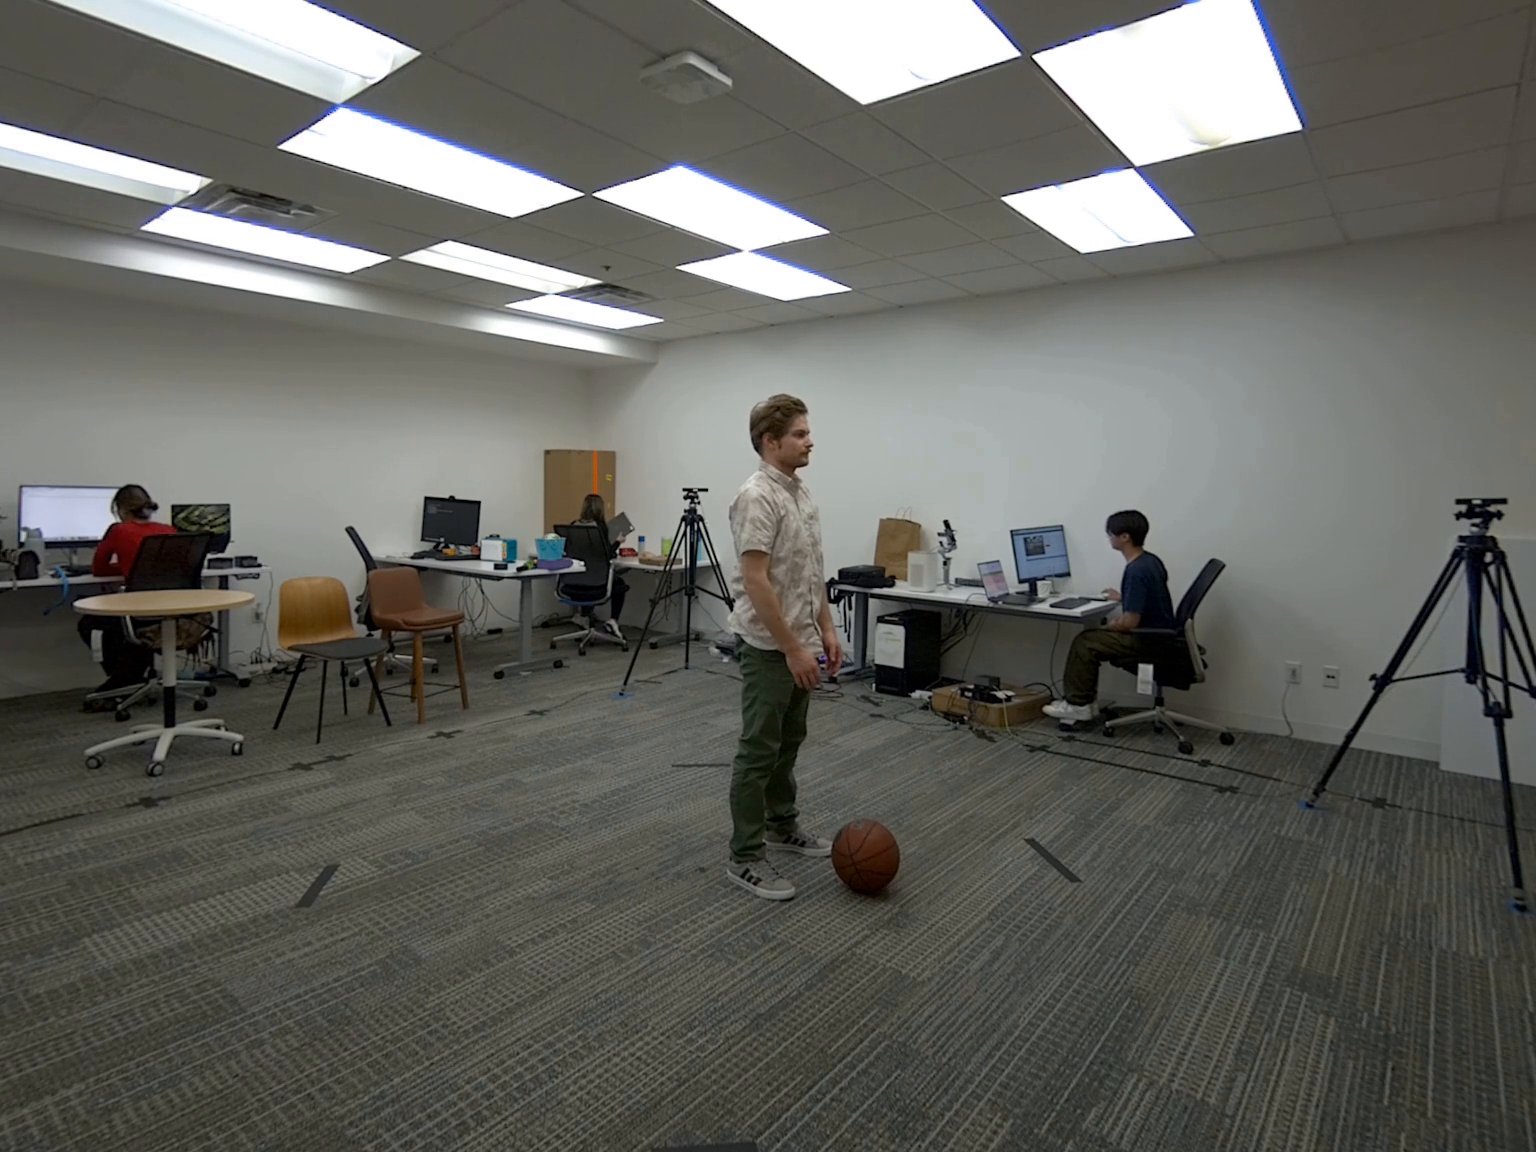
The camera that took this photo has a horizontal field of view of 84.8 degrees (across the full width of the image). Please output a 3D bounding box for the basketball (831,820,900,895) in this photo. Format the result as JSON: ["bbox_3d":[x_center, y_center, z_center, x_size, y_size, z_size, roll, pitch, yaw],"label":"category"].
[{"bbox_3d":[0.330,0.977,2.987,0.236,0.235,0.237,1,4,-2],"label":"basketball"}]
